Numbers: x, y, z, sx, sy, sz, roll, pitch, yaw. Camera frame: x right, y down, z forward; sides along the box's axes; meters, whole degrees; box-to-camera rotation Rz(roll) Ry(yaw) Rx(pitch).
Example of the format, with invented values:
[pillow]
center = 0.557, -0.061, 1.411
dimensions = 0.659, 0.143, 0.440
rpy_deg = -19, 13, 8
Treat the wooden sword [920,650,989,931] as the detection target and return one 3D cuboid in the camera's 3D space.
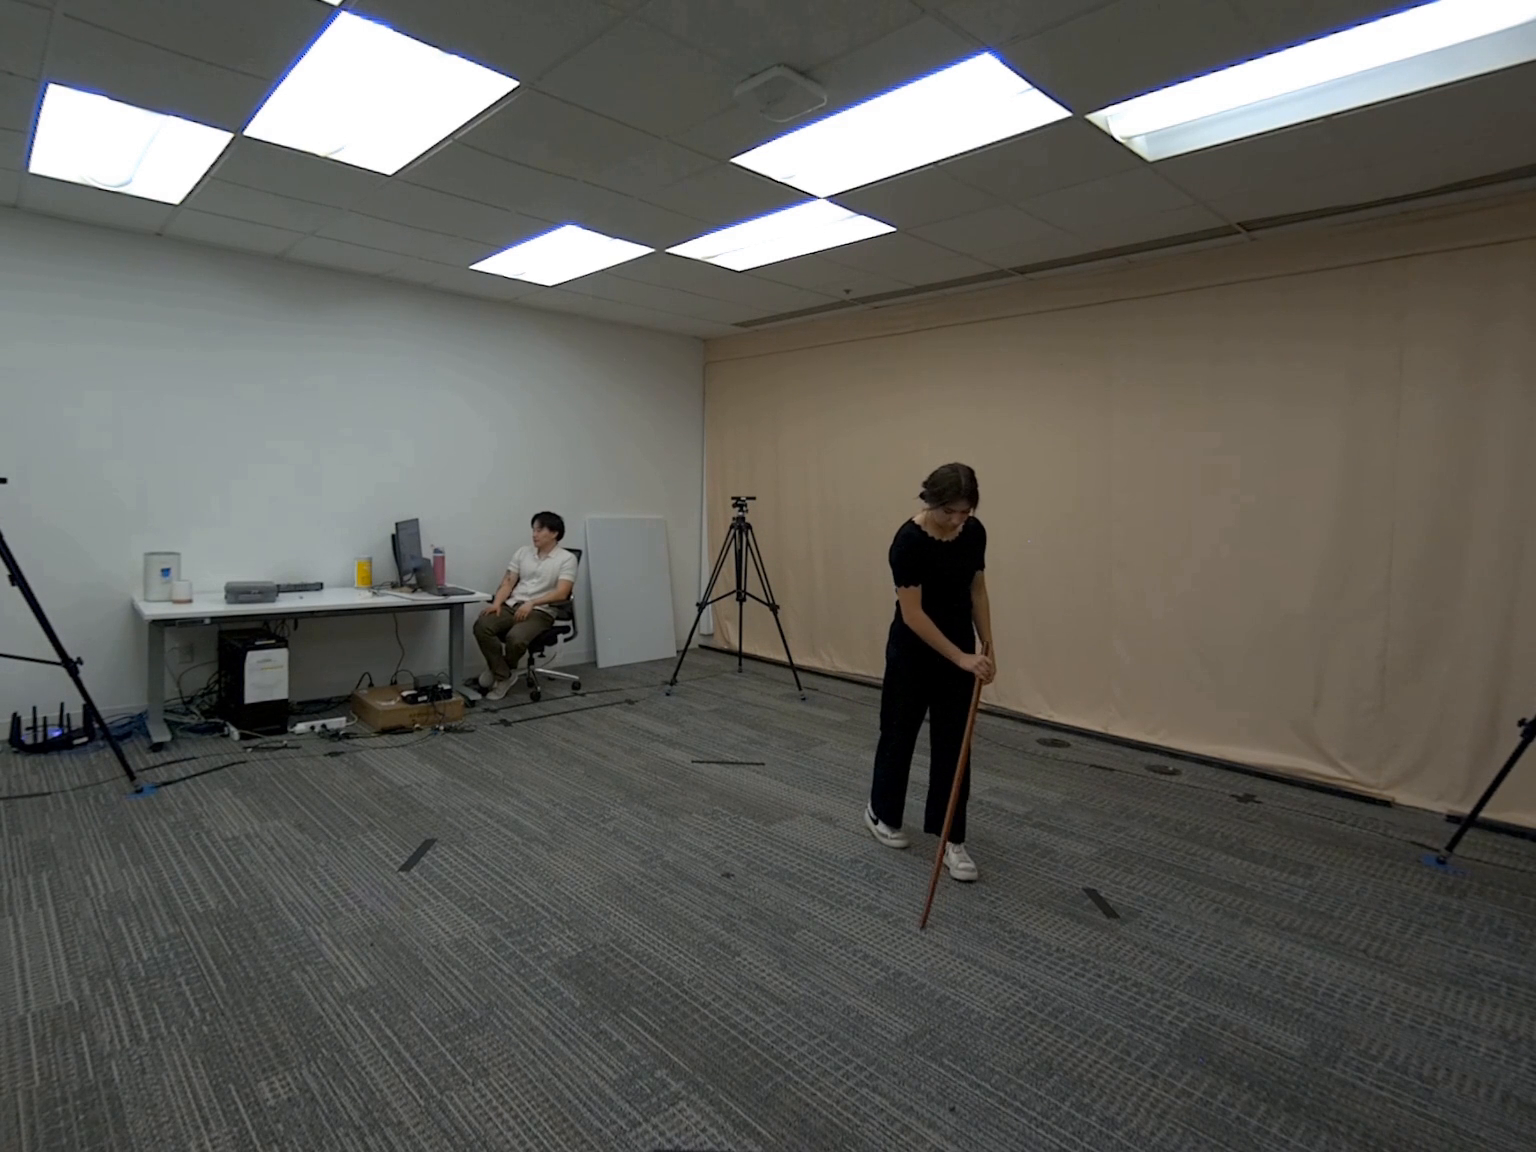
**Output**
[wooden sword]
center = 0.653, 0.717, 2.957
dimensions = 0.024, 1.034, 0.050
rpy_deg = 5, -26, 29
